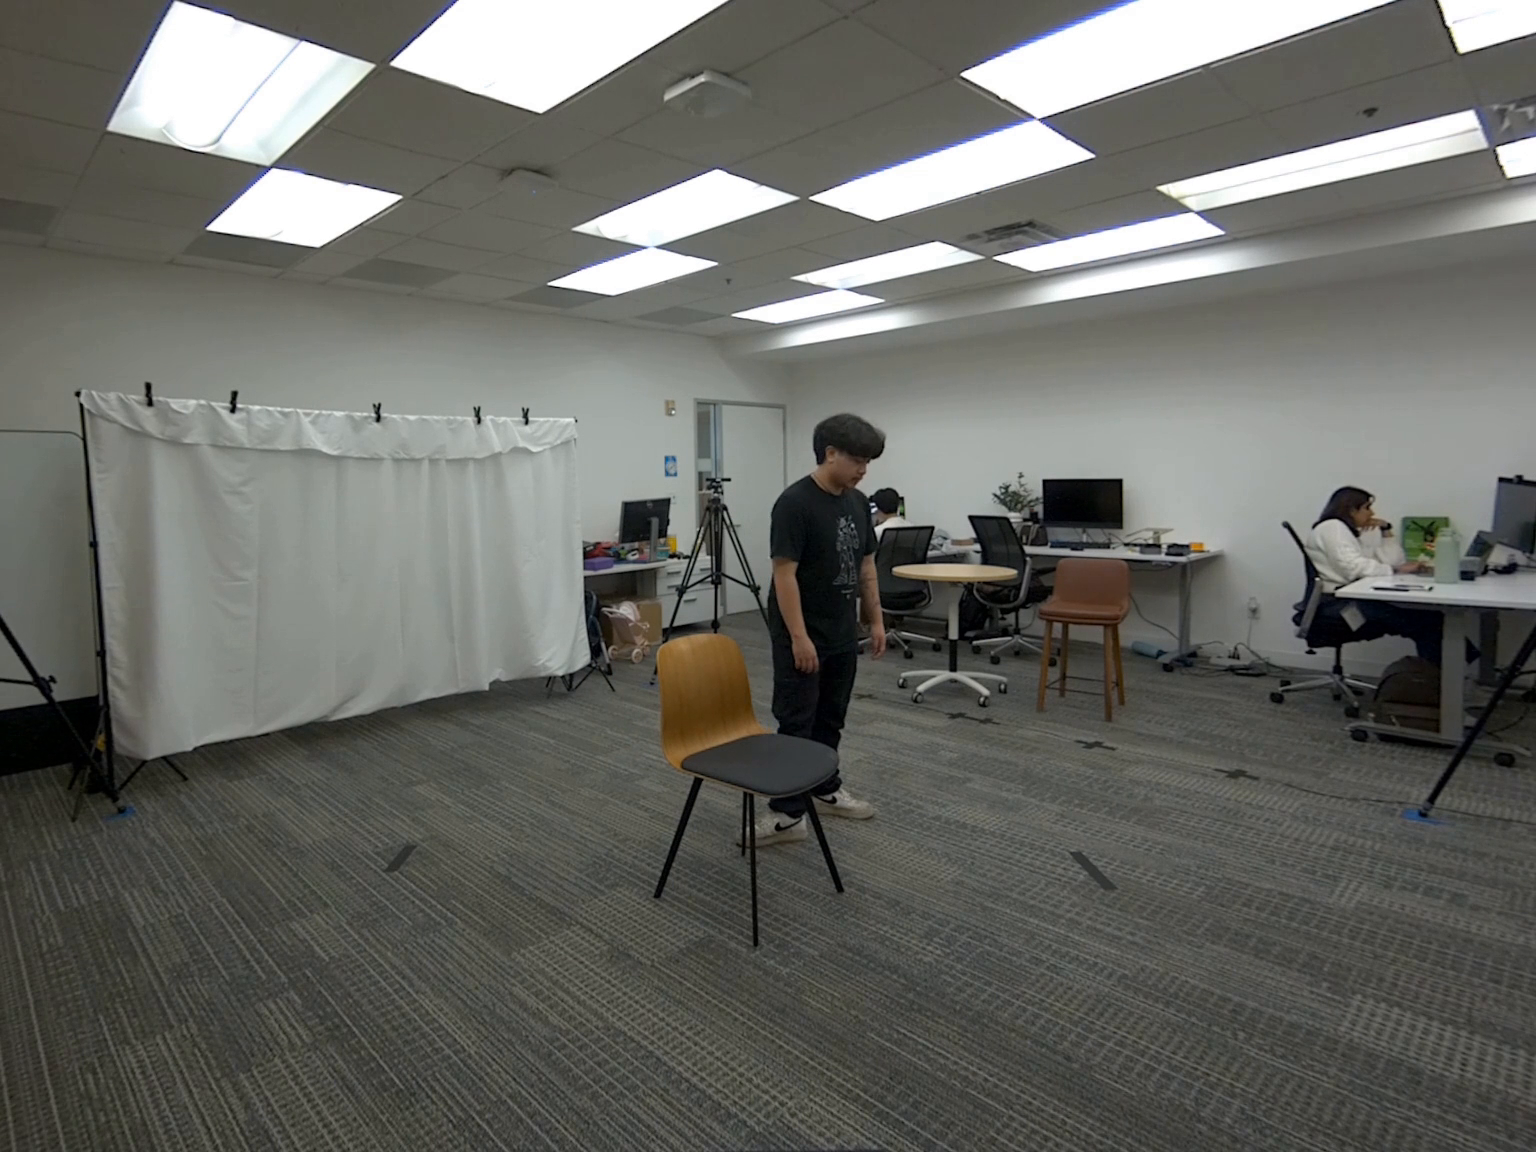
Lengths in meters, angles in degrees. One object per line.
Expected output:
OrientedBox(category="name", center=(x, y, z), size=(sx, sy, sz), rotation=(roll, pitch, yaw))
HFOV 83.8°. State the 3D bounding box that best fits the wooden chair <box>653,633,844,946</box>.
OrientedBox(category="wooden chair", center=(-0.065, 0.647, 2.826), size=(0.537, 0.877, 0.465), rotation=(-3, 1, 42))
